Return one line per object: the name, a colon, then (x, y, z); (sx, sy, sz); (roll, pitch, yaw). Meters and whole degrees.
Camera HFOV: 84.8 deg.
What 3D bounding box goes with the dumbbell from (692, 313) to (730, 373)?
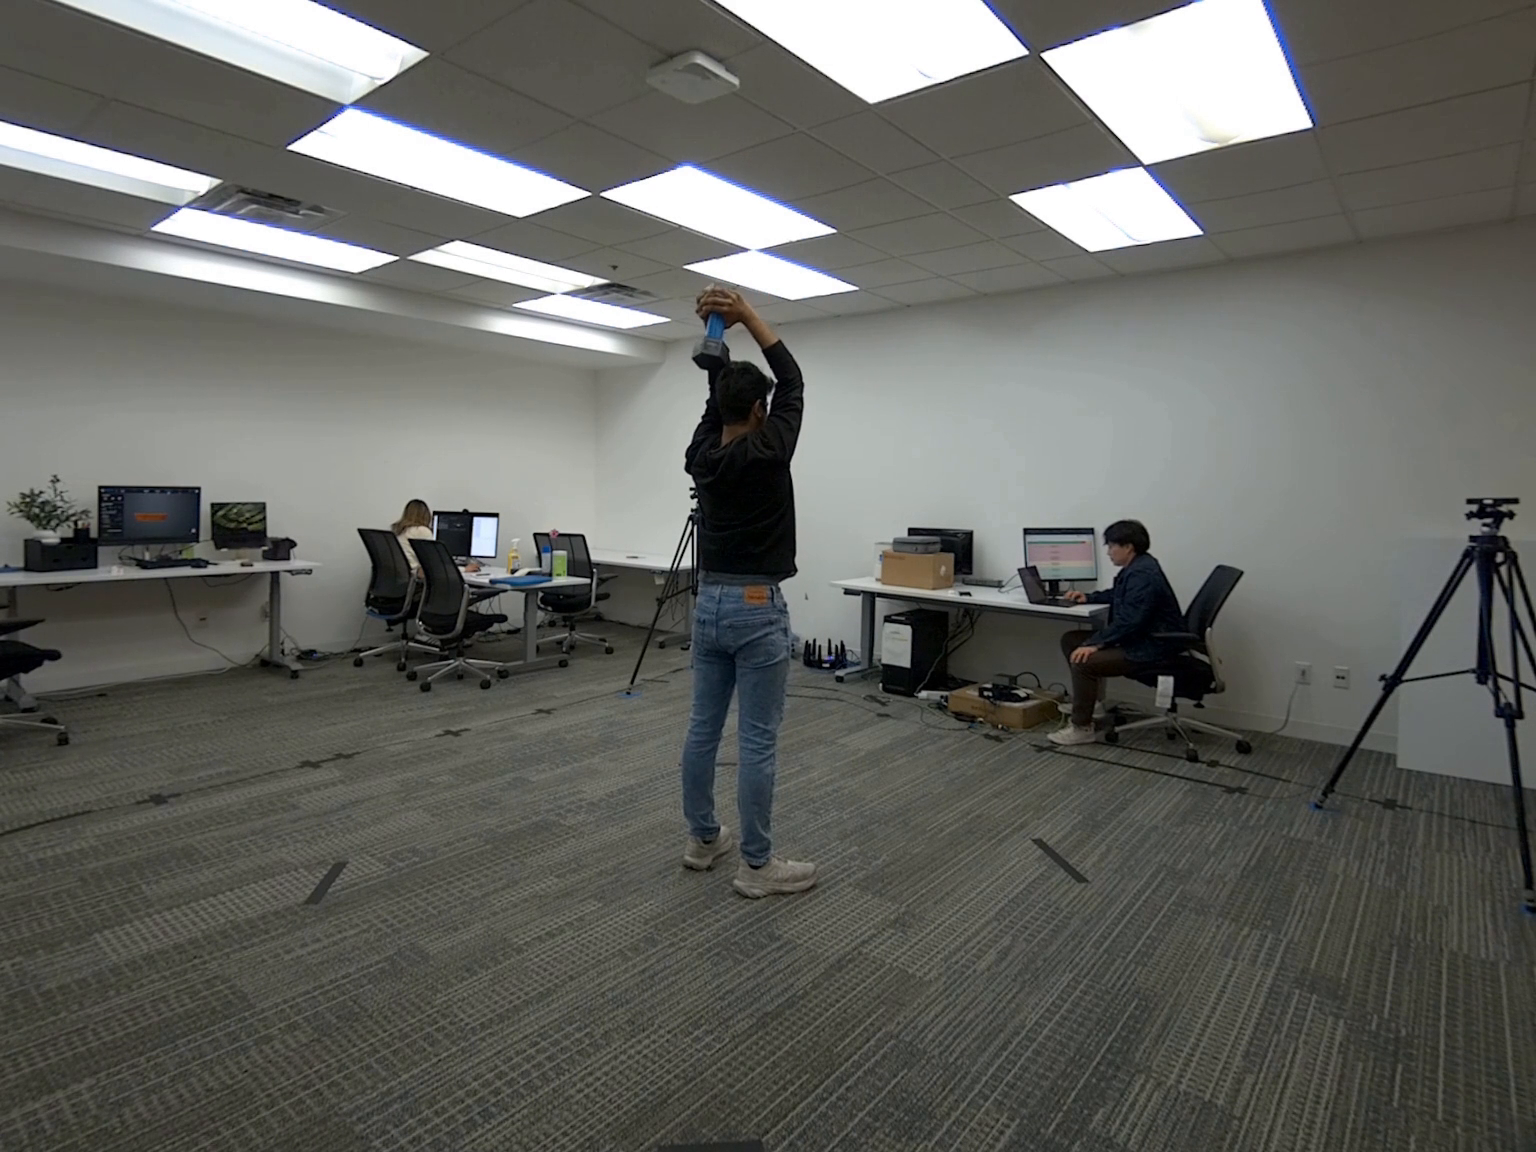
dumbbell: (-0.183, -0.841, 2.878); (0.105, 0.297, 0.126); (19, -19, -33)
